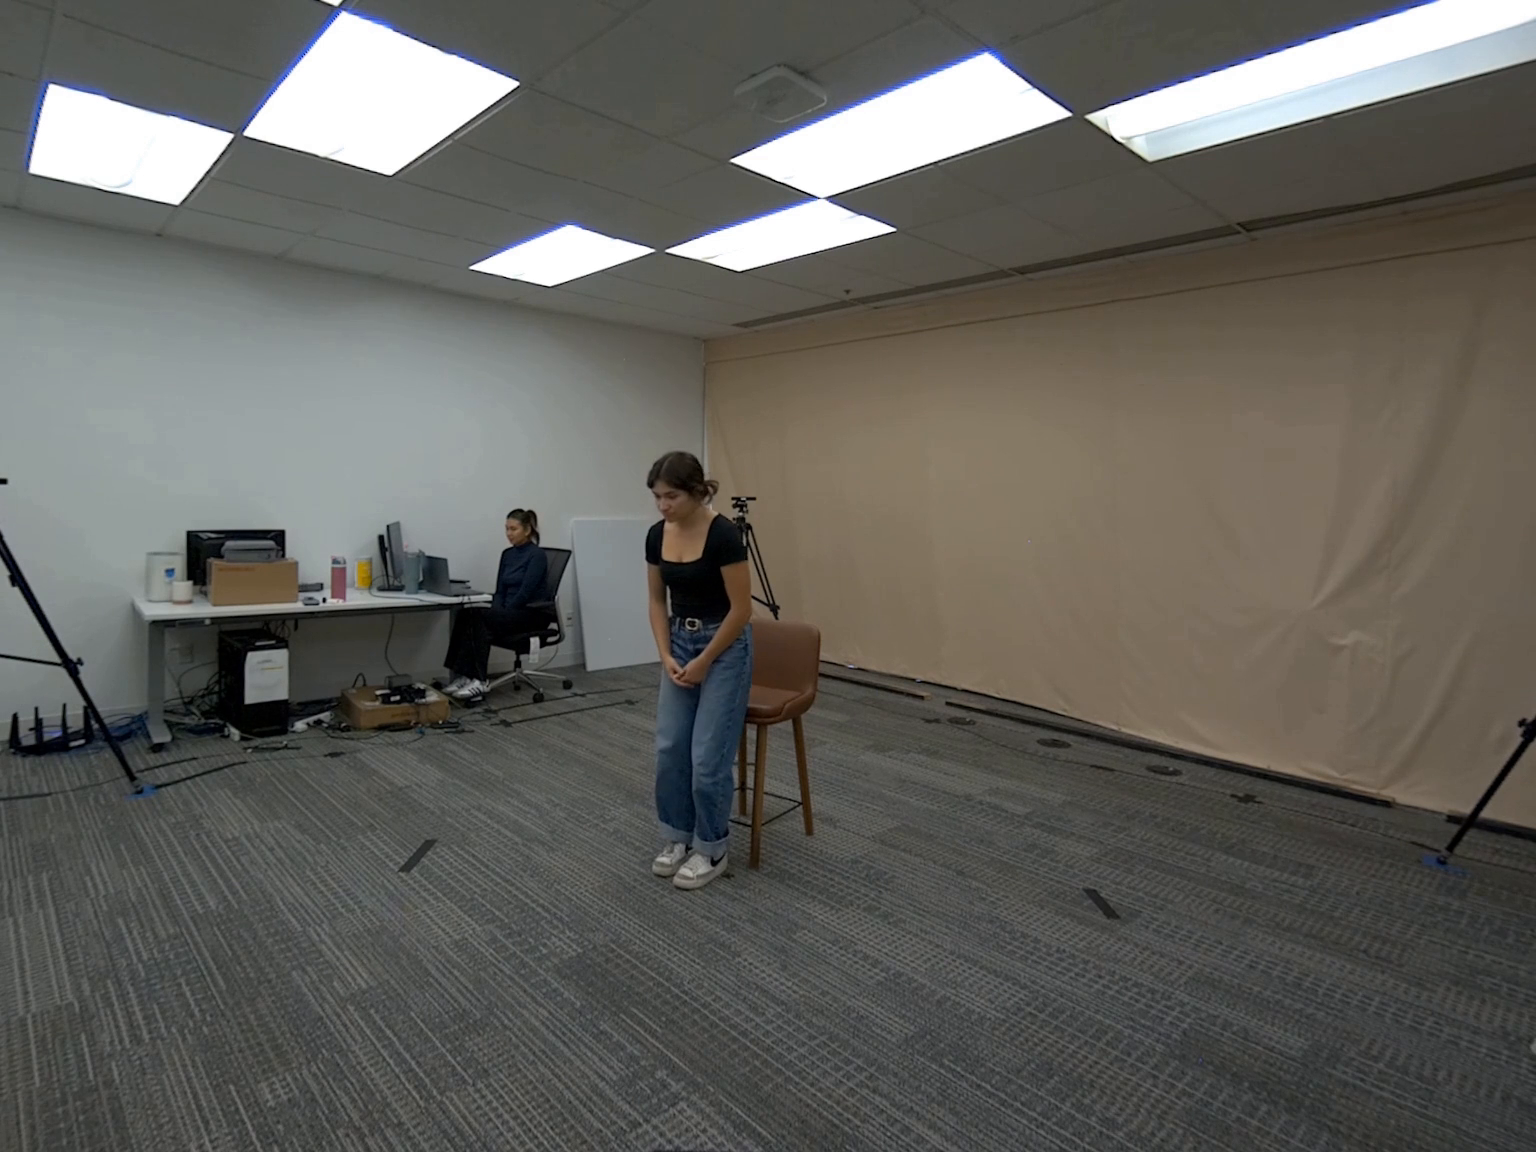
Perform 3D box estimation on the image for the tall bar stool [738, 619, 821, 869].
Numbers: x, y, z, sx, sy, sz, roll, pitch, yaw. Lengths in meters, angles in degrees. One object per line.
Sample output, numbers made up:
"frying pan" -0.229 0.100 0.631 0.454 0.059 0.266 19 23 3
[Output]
"tall bar stool" -0.072 0.647 3.434 0.467 0.889 0.457 4 2 36
